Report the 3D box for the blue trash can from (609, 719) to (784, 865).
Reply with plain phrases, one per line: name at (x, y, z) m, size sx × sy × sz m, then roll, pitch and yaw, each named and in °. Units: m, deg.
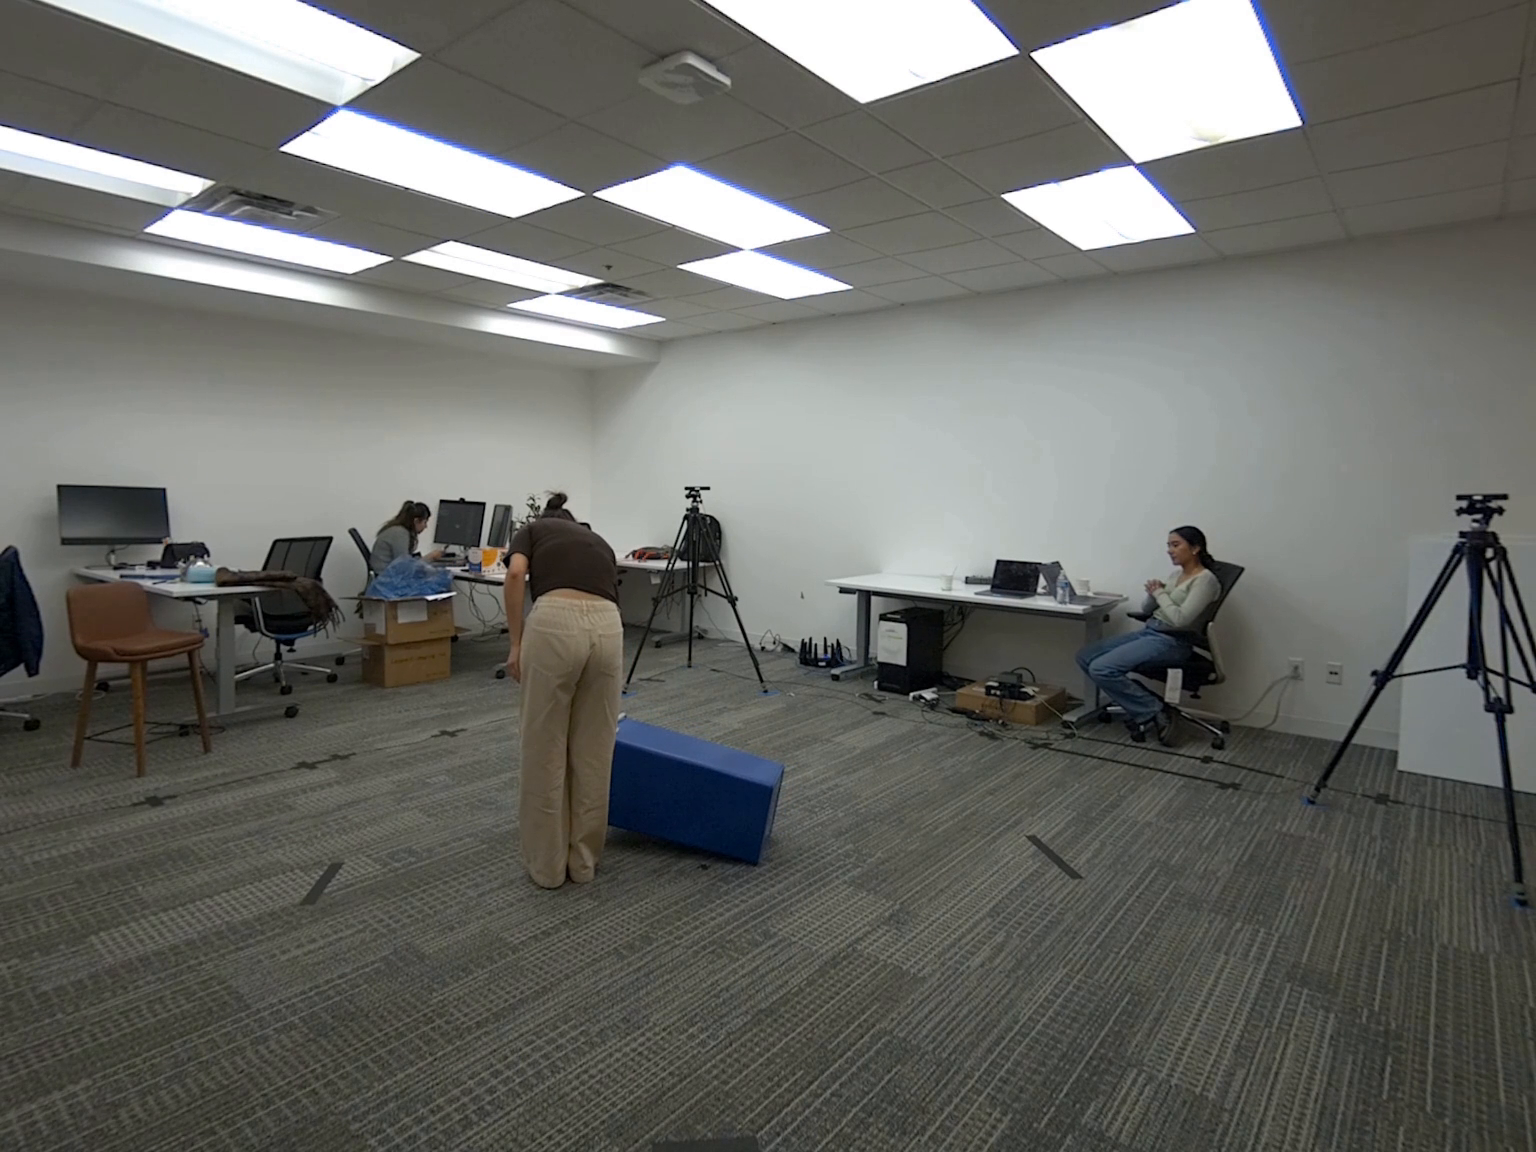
blue trash can at (-0.337, 0.832, 3.329) m, size 0.727 × 0.373 × 0.372 m, roll 12°, pitch 4°, yaw 15°
